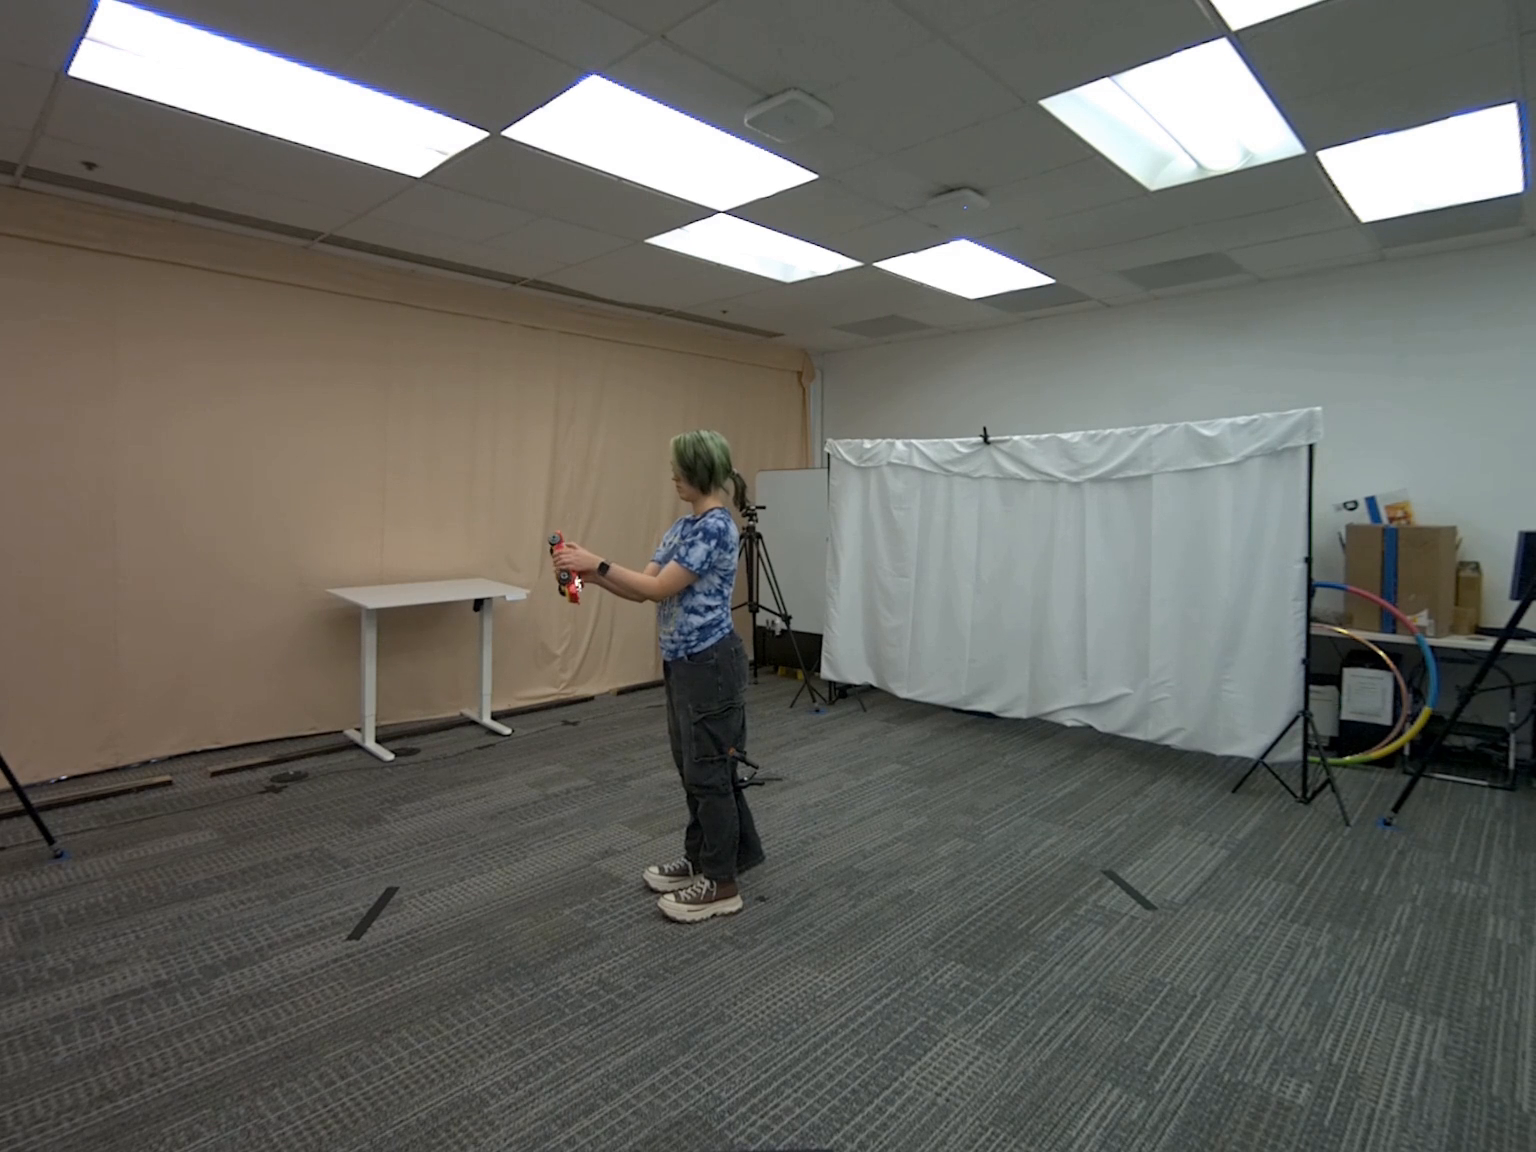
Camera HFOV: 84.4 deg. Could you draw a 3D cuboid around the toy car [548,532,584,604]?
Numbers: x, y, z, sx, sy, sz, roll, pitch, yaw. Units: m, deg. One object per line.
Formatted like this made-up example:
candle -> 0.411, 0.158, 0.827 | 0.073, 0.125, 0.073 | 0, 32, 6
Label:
toy car -> -0.683, -0.018, 2.818 | 0.082, 0.260, 0.129 | -23, -21, -20
